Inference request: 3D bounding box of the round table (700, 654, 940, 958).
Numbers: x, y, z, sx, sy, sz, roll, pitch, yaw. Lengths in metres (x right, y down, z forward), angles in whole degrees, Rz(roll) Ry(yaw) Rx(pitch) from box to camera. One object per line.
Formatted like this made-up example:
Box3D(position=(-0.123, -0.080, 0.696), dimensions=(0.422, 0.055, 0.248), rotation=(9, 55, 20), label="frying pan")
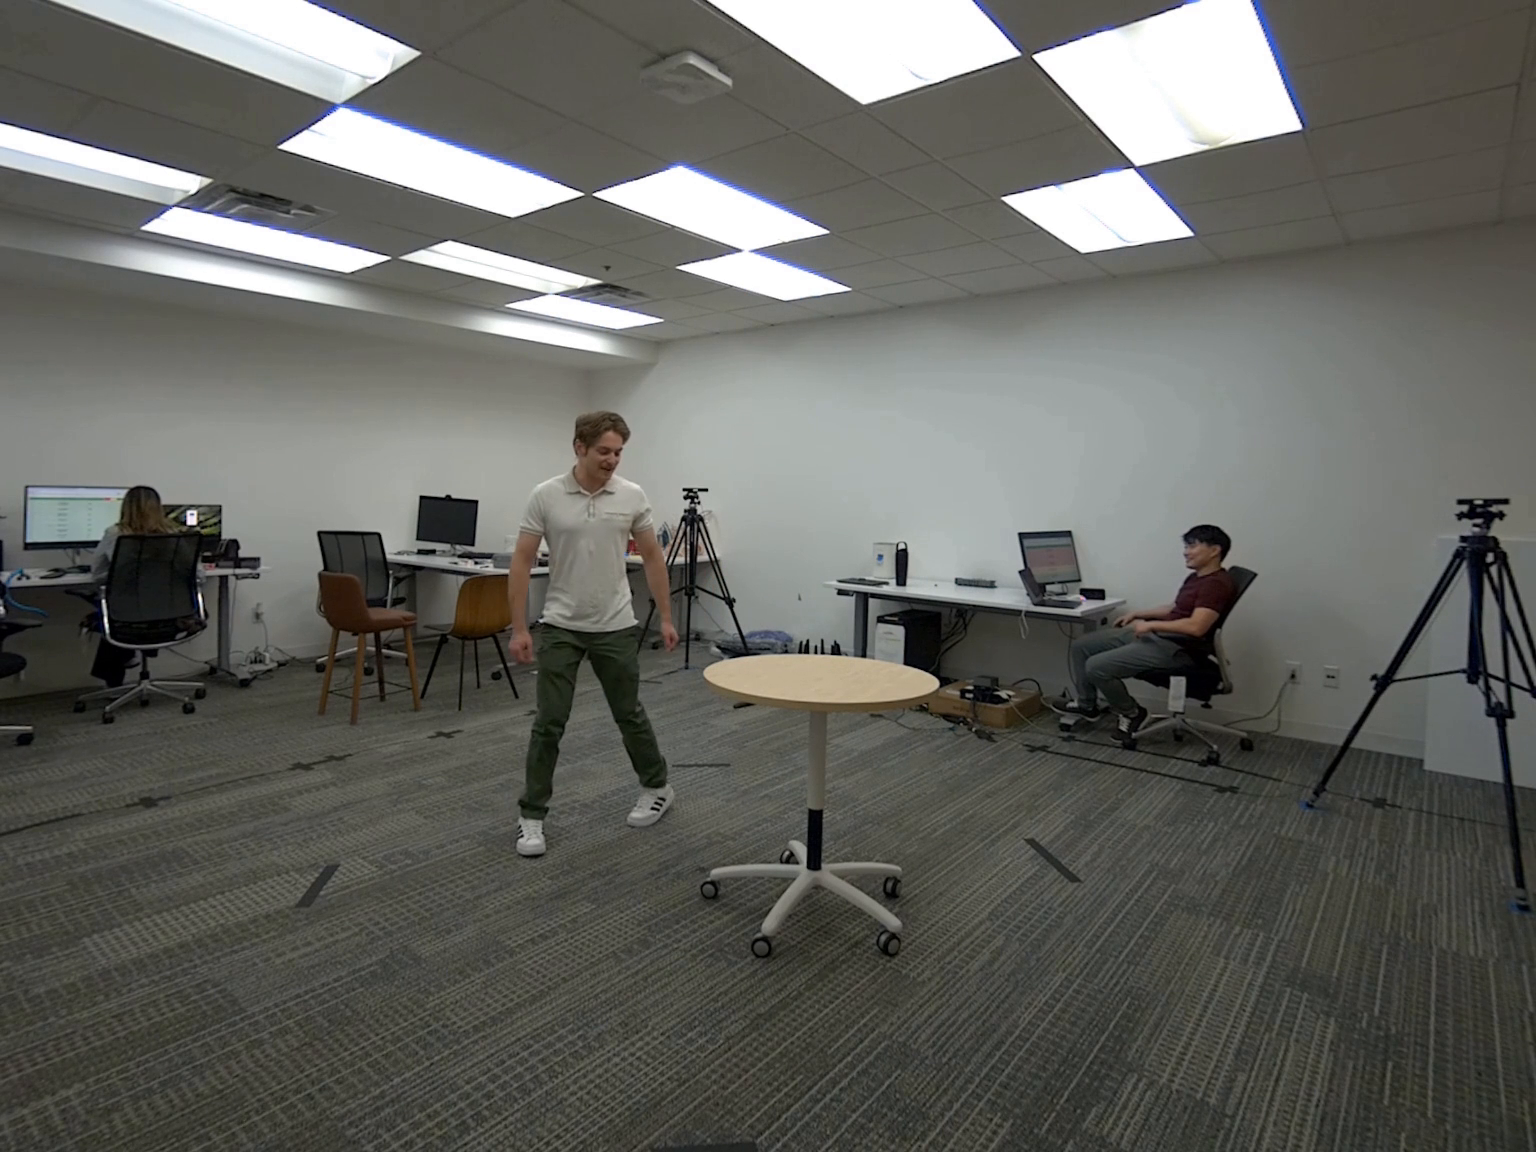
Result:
Box3D(position=(0.145, 0.717, 2.807), dimensions=(0.763, 0.792, 0.767), rotation=(1, 4, -2), label="round table")
